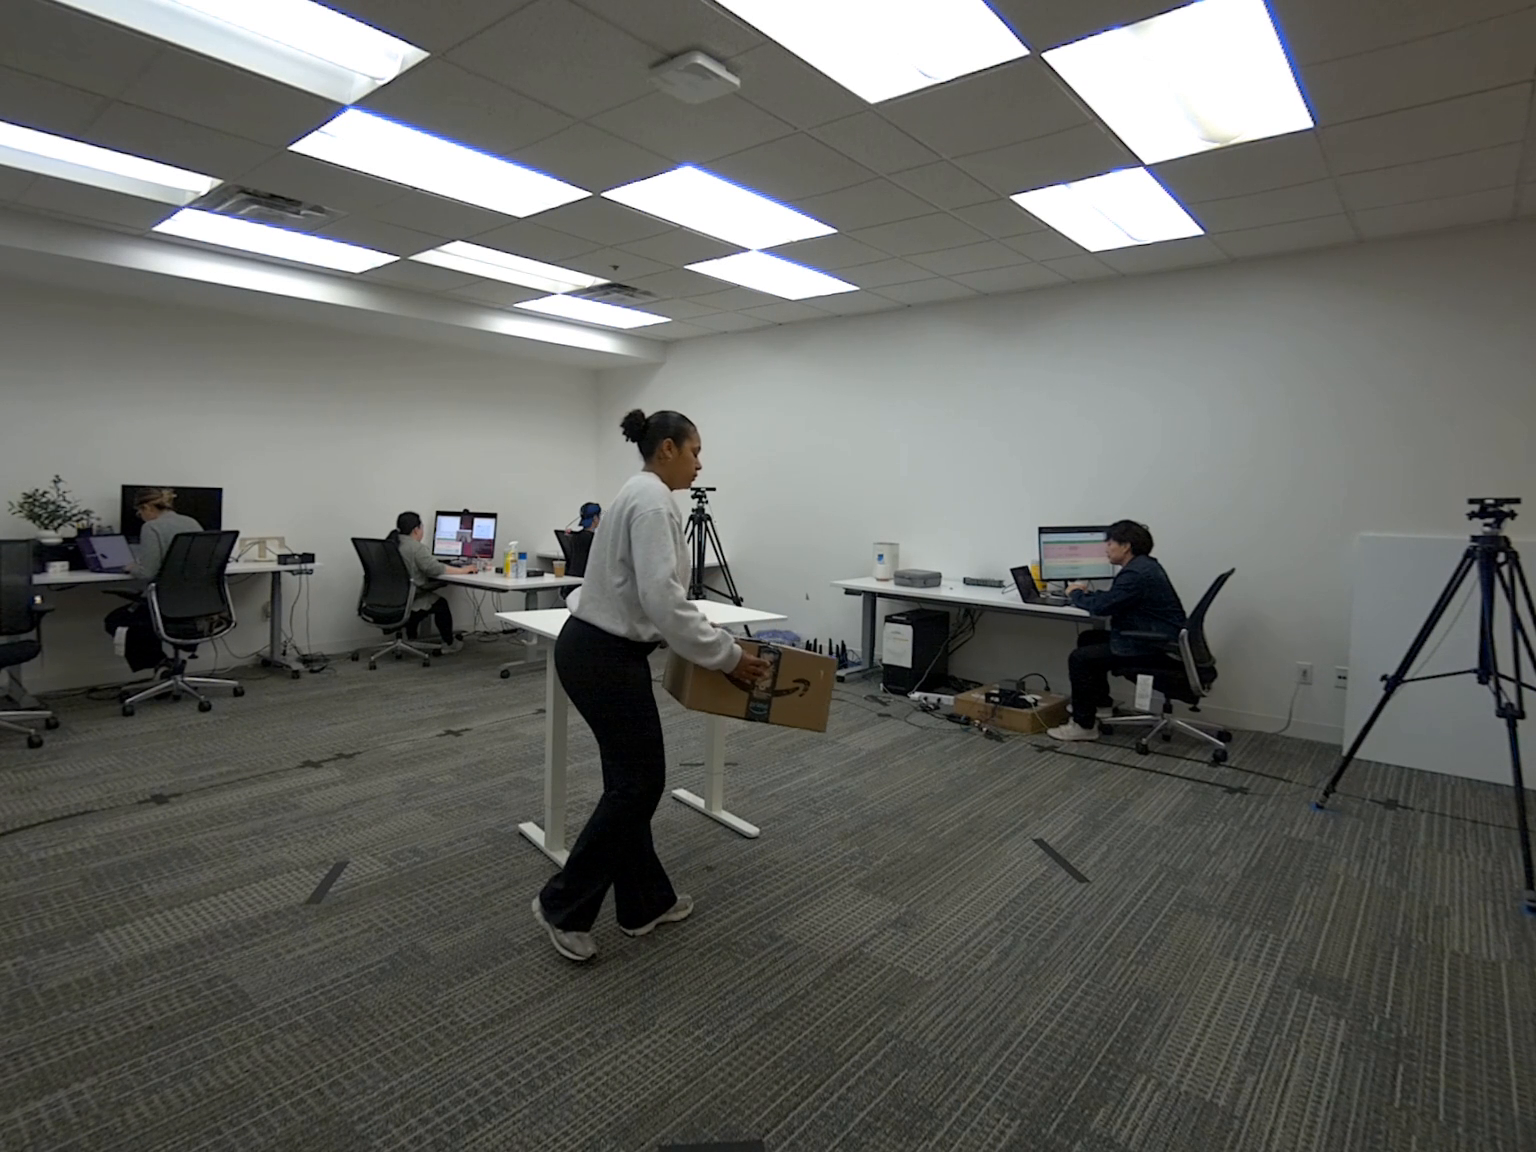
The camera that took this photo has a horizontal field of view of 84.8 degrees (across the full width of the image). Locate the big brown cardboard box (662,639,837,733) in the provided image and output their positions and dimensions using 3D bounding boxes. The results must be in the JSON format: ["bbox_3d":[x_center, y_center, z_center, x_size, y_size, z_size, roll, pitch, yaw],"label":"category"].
[{"bbox_3d":[-0.094,0.309,2.655,0.412,0.234,0.594,10,-4,-12],"label":"big brown cardboard box"}]
